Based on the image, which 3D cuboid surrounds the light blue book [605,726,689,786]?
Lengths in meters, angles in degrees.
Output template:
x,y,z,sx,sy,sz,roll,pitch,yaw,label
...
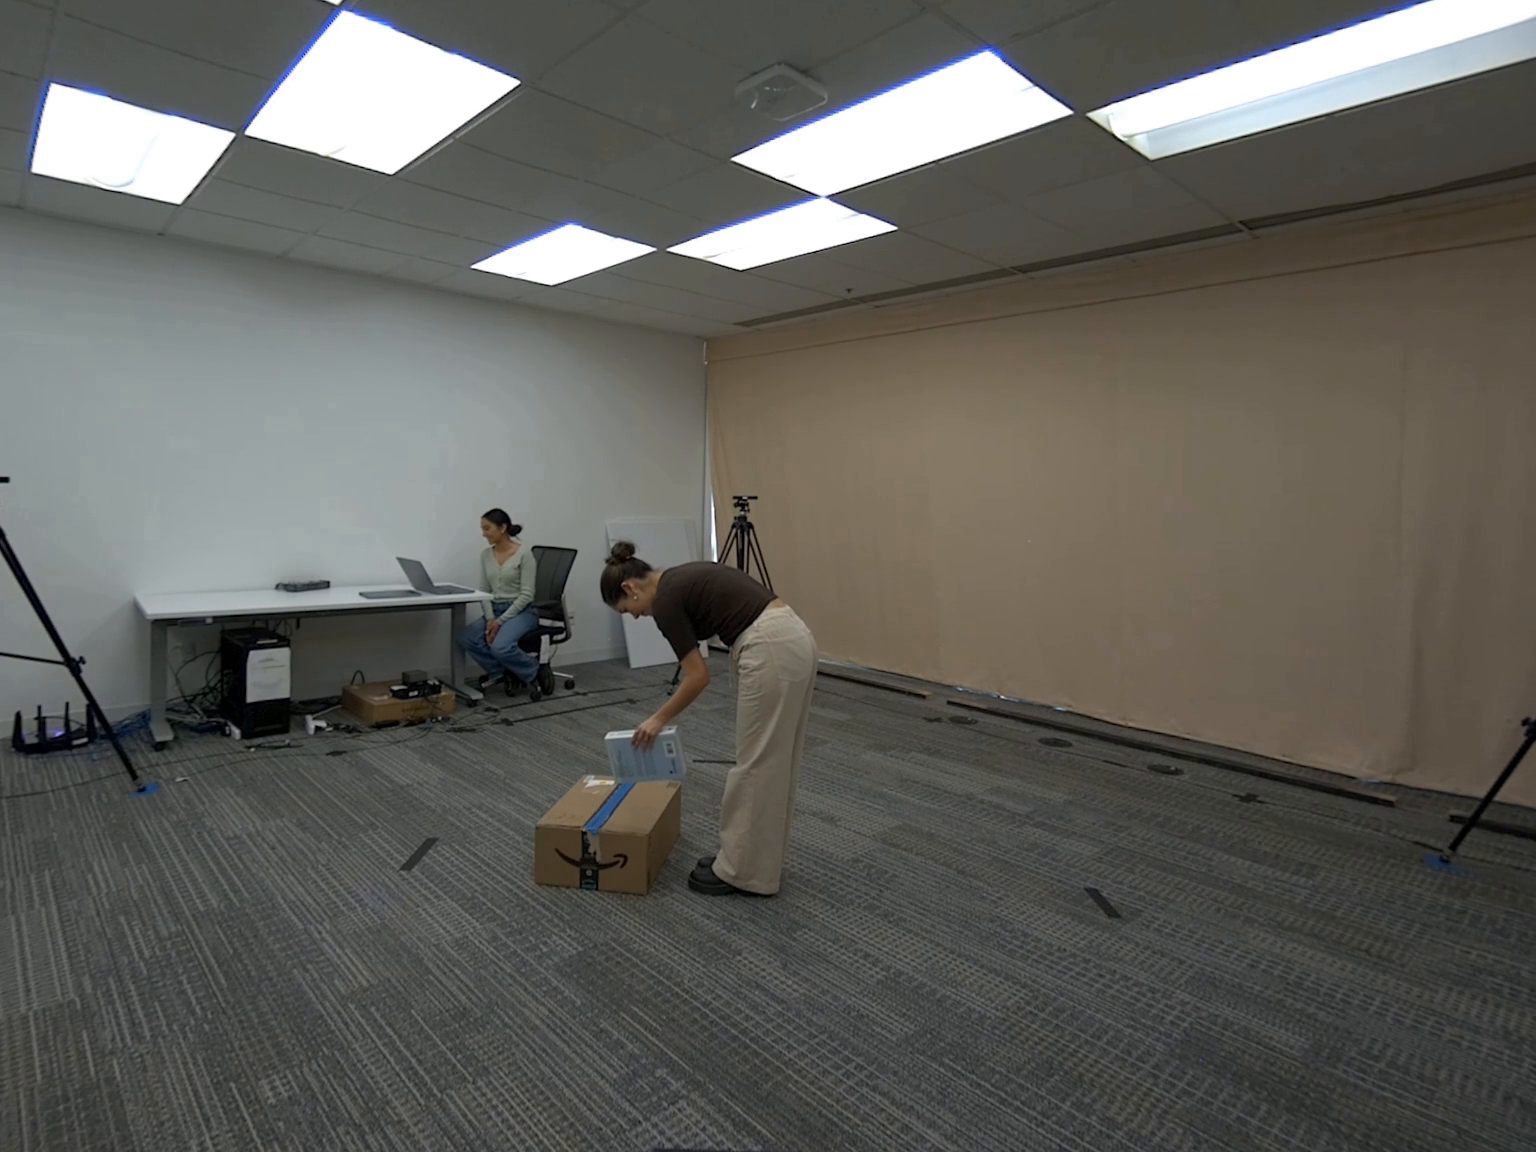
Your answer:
x,y,z,sx,sy,sz,roll,pitch,yaw,label
-0.432,0.642,3.016,0.263,0.189,0.059,-5,15,13,light blue book
